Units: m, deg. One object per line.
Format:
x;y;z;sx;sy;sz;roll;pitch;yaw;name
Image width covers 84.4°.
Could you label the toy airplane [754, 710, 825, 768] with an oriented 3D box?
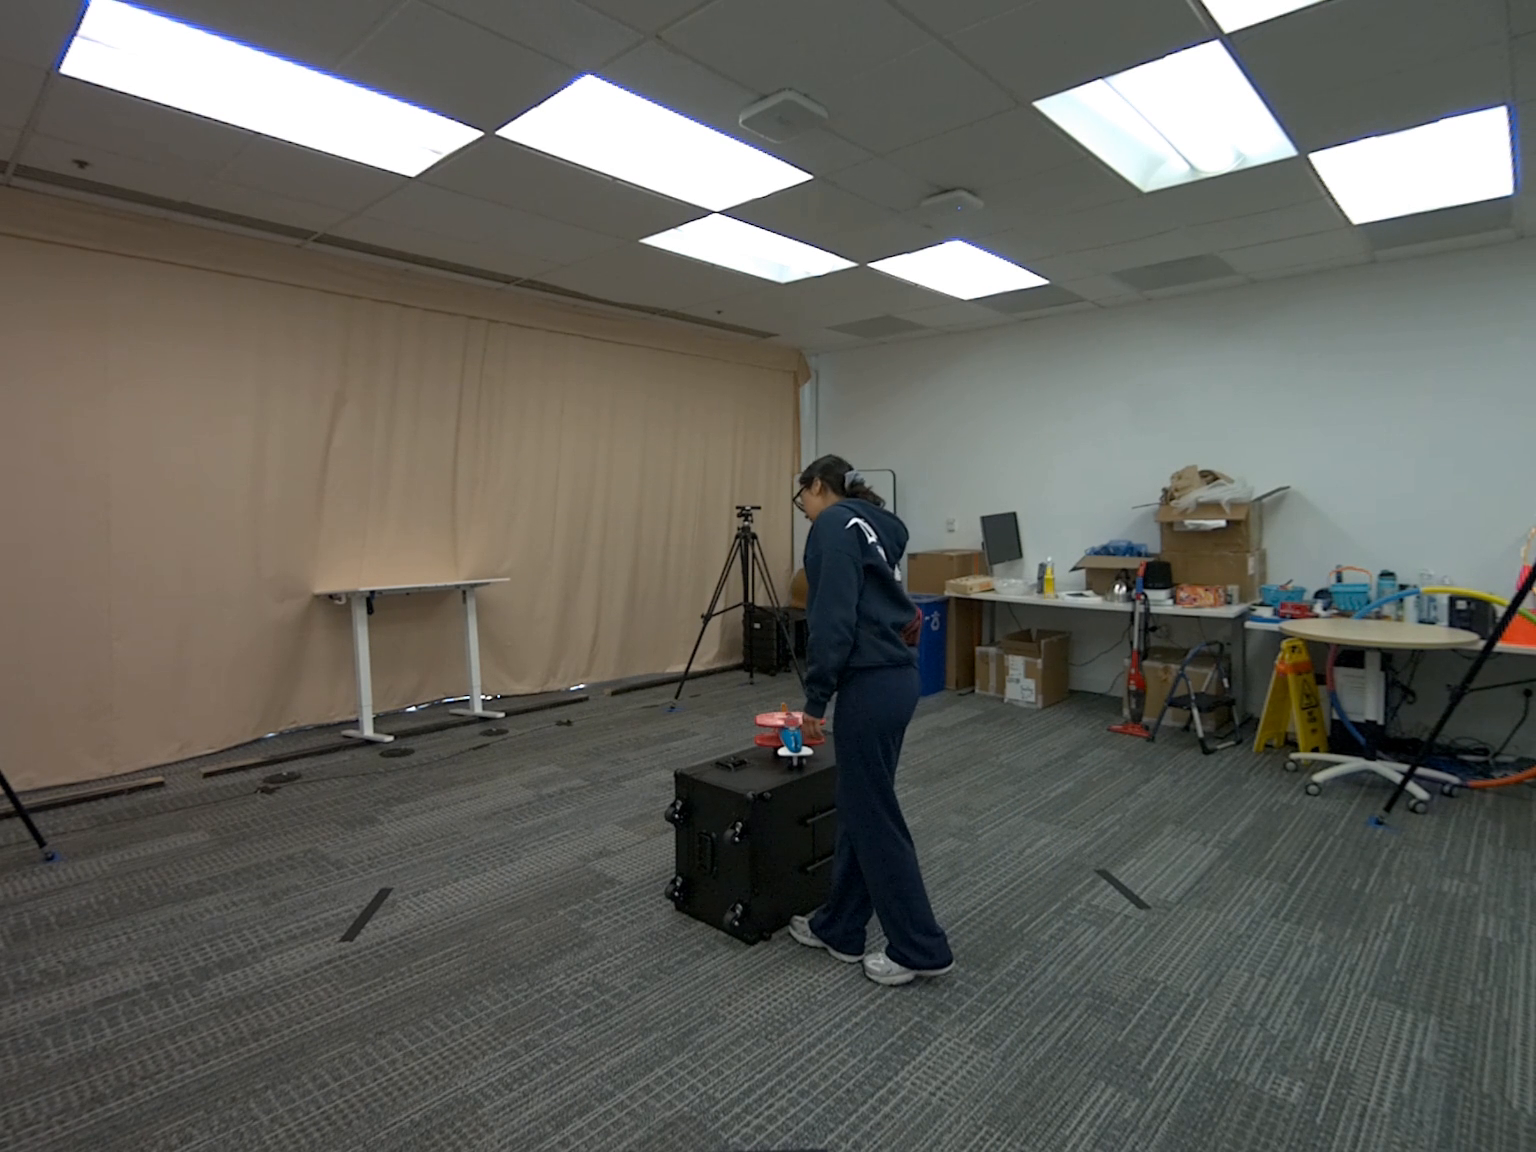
0.121;0.579;3.019;0.244;0.156;0.267;-3;4;-30;toy airplane
